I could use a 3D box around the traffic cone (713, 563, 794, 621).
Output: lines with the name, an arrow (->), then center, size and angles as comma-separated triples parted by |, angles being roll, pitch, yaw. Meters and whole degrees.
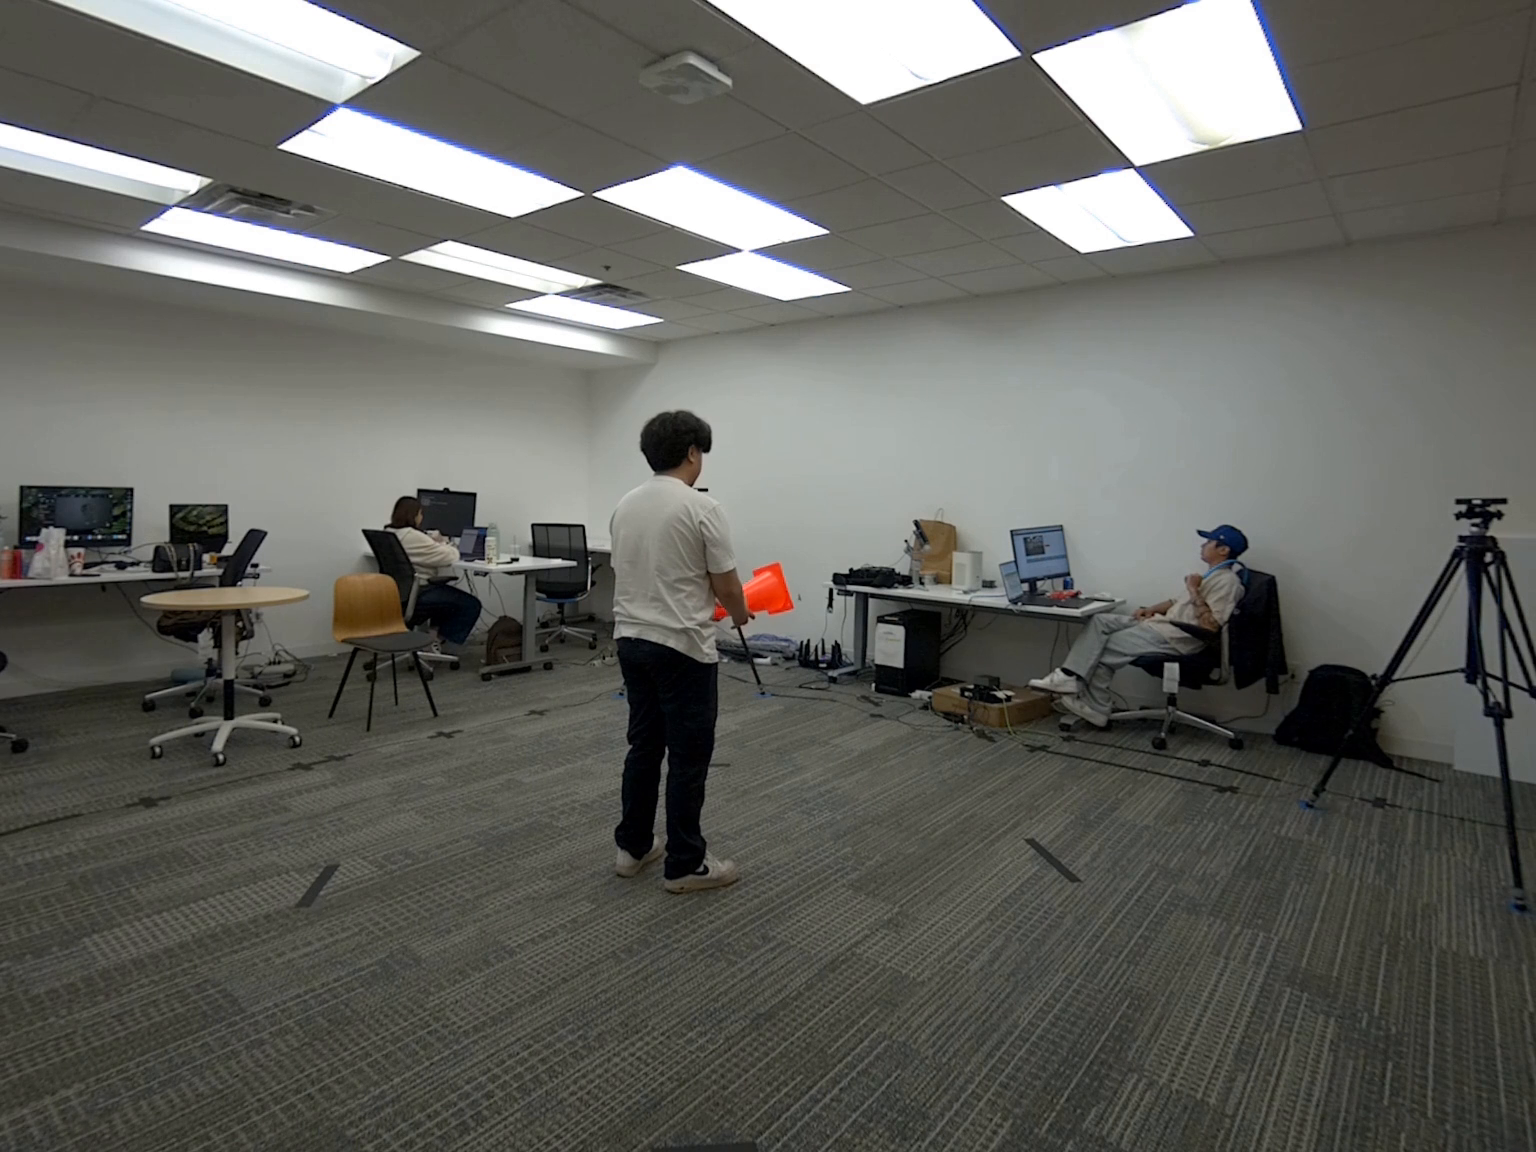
traffic cone -> -0.142, 0.110, 3.374 | 0.376, 0.204, 0.208 | -19, -2, -31
